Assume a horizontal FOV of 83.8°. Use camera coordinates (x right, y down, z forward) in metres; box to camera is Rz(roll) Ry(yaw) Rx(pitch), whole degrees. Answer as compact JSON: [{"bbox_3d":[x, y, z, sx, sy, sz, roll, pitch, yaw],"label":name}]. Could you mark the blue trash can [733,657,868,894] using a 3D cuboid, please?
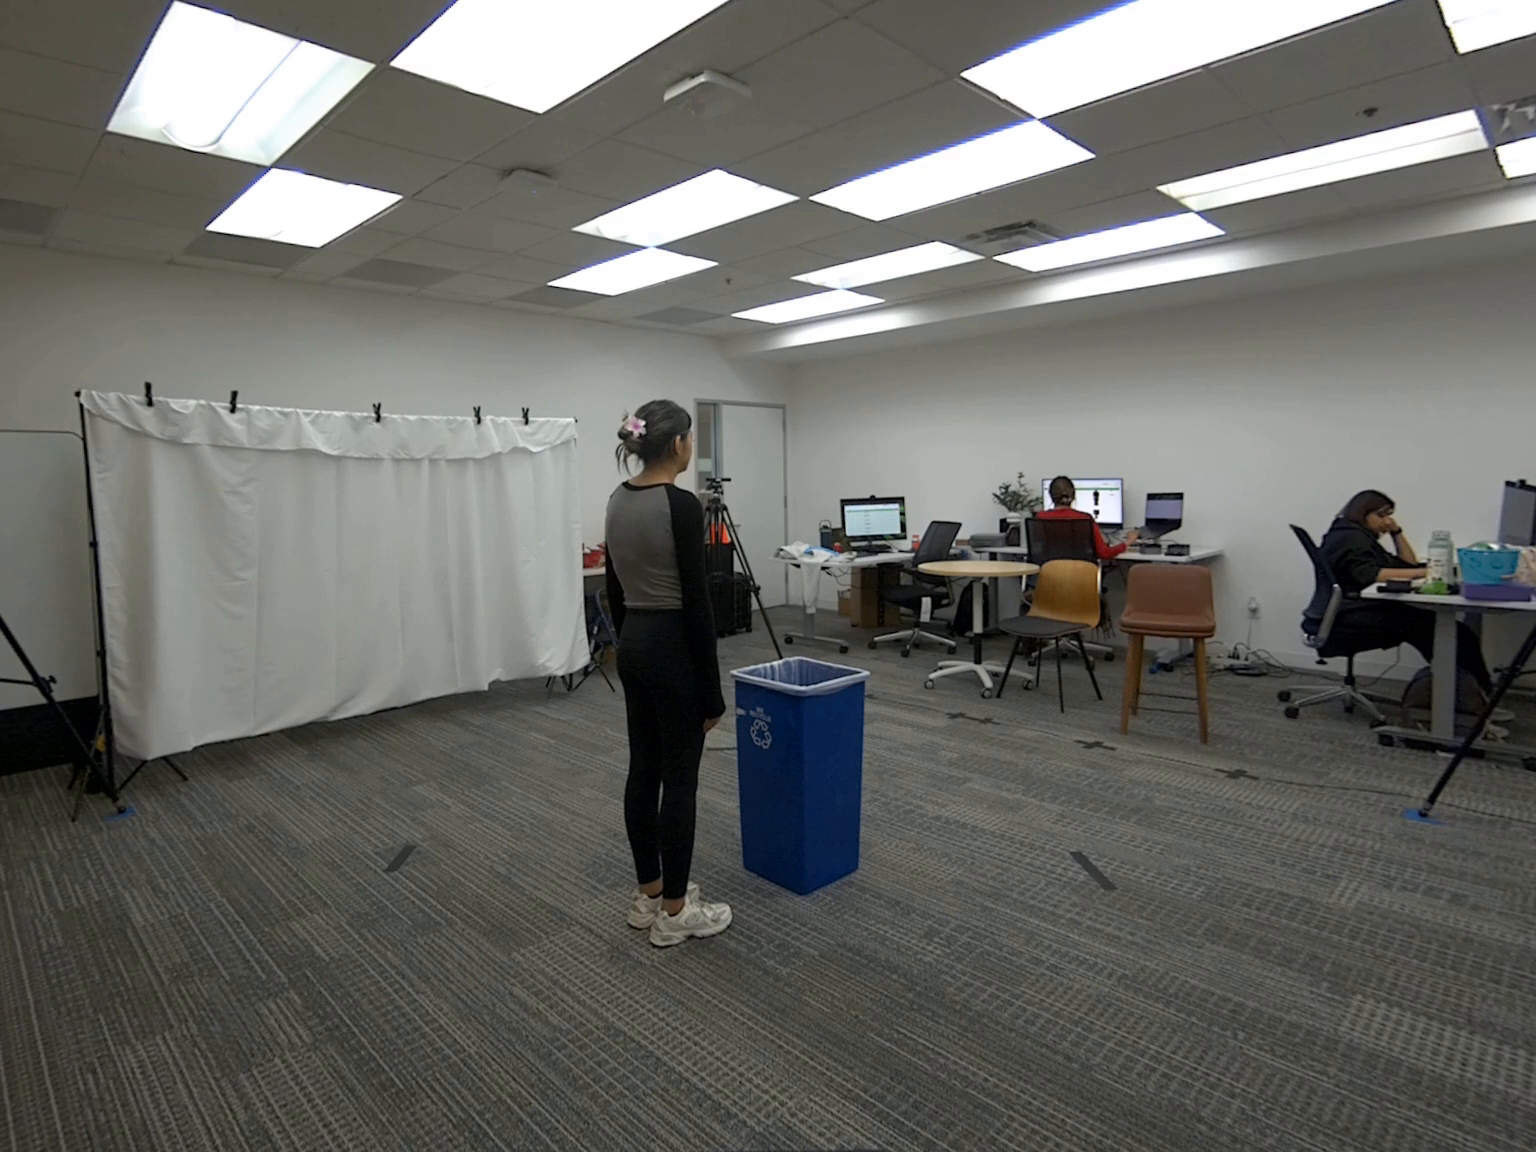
[{"bbox_3d":[0.123,0.689,3.031,0.368,0.711,0.385,-5,5,-43],"label":"blue trash can"}]
